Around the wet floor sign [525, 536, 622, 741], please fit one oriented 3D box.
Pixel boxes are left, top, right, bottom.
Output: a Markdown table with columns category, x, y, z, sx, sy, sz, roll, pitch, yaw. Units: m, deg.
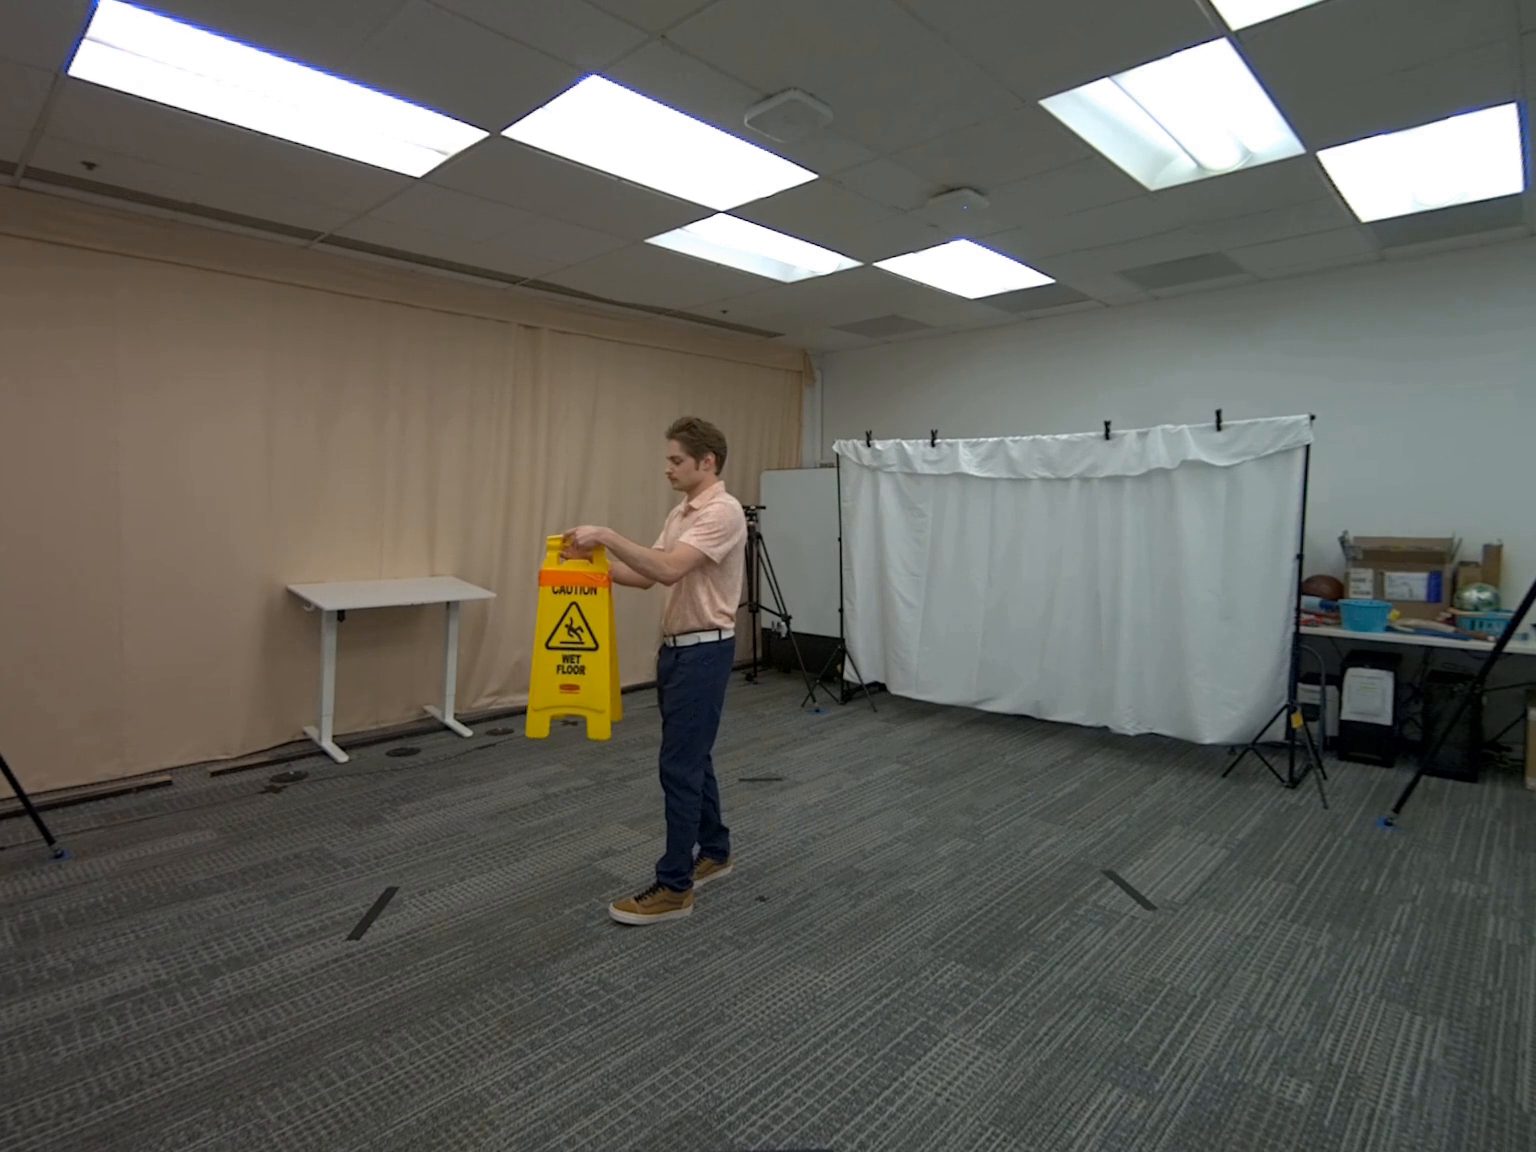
| category | x | y | z | sx | sy | sz | roll | pitch | yaw |
| --- | --- | --- | --- | --- | --- | --- | --- | --- | --- |
| wet floor sign | -0.637 | 0.194 | 2.821 | 0.282 | 0.644 | 0.290 | -1 | 3 | 0 |
